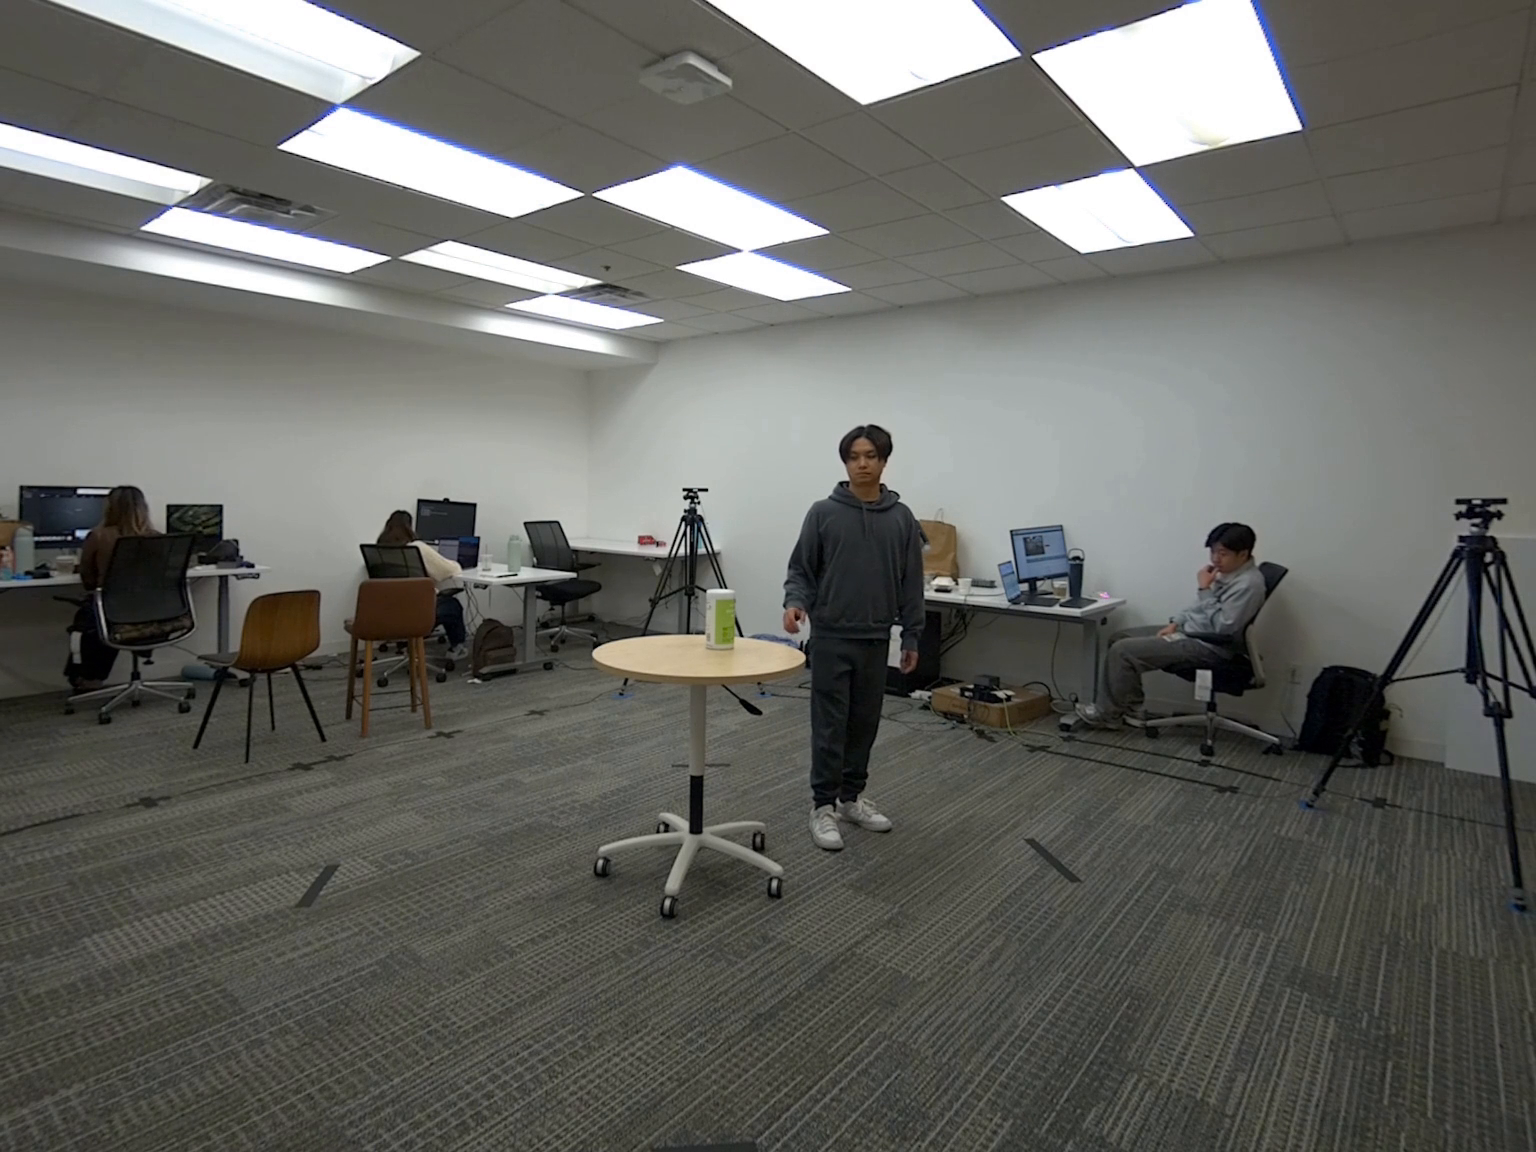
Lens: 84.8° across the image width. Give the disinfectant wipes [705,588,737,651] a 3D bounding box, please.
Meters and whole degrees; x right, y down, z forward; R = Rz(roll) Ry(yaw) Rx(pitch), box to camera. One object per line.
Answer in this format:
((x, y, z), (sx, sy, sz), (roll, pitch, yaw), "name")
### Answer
((-0.193, 0.161, 3.180), (0.117, 0.217, 0.118), (3, 2, -2), "disinfectant wipes")
